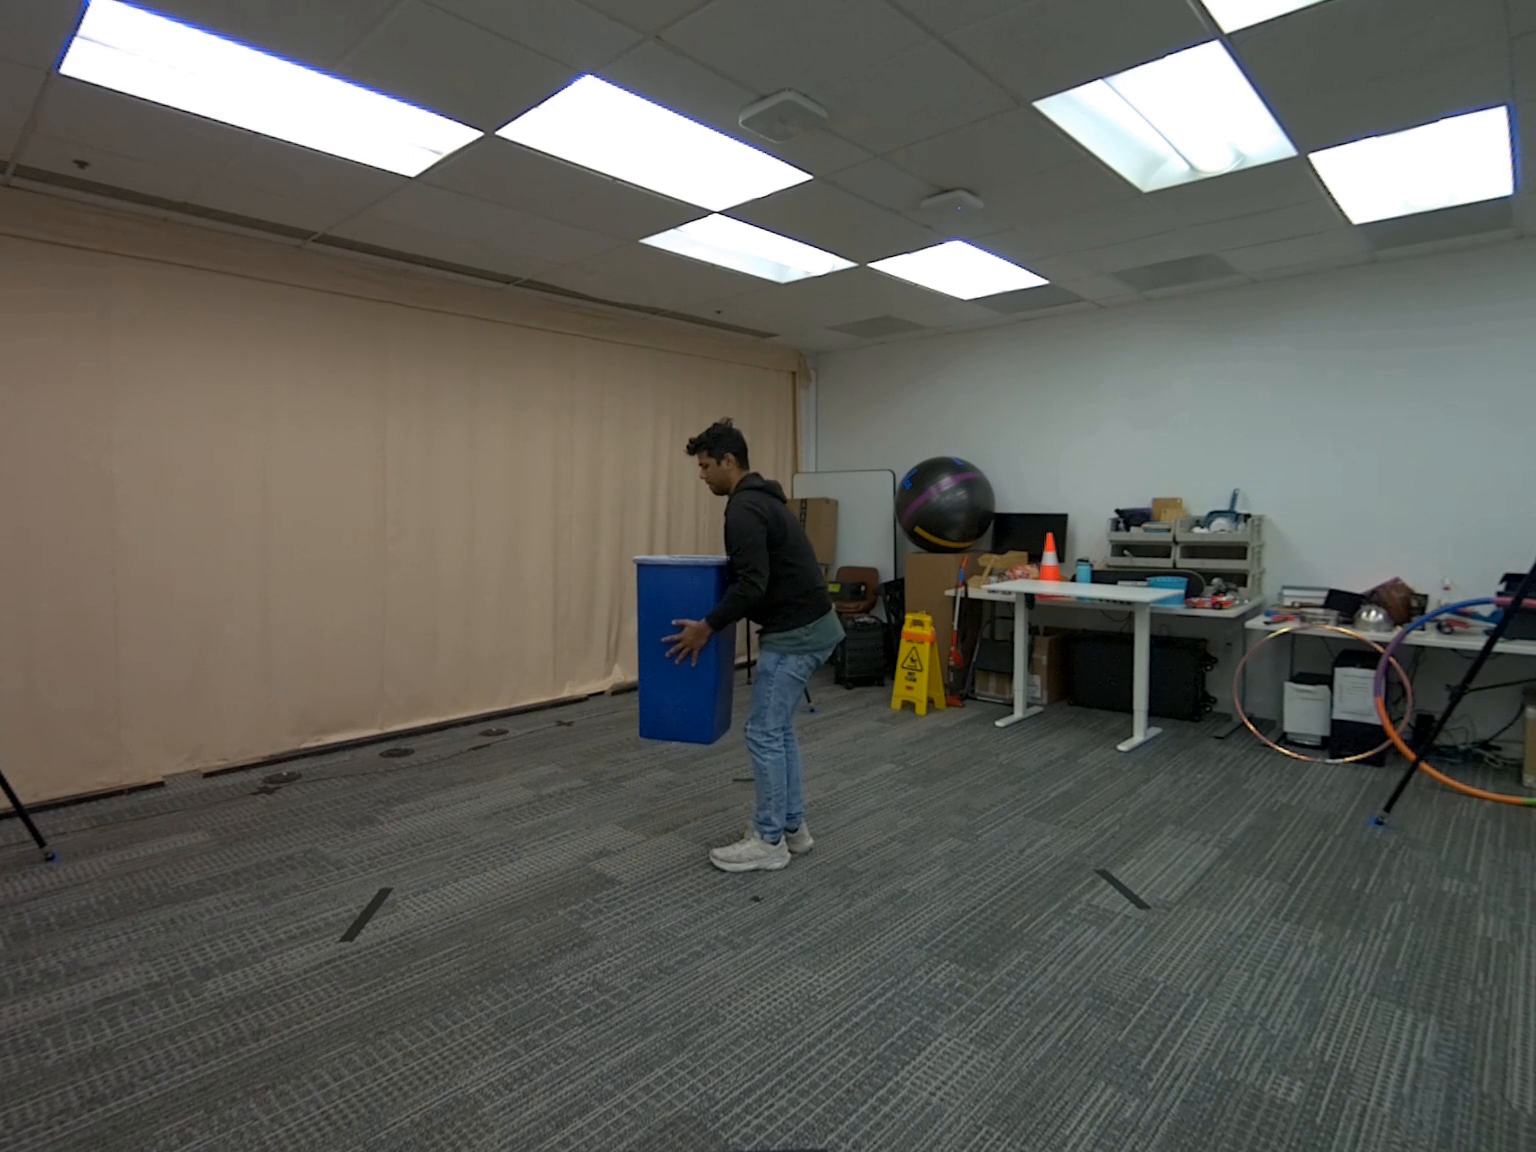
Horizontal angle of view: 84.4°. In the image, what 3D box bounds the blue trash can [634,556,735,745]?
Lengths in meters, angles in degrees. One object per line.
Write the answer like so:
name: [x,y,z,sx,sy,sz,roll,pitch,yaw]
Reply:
blue trash can: [-0.326,0.288,3.405,0.380,0.713,0.372,2,2,14]
